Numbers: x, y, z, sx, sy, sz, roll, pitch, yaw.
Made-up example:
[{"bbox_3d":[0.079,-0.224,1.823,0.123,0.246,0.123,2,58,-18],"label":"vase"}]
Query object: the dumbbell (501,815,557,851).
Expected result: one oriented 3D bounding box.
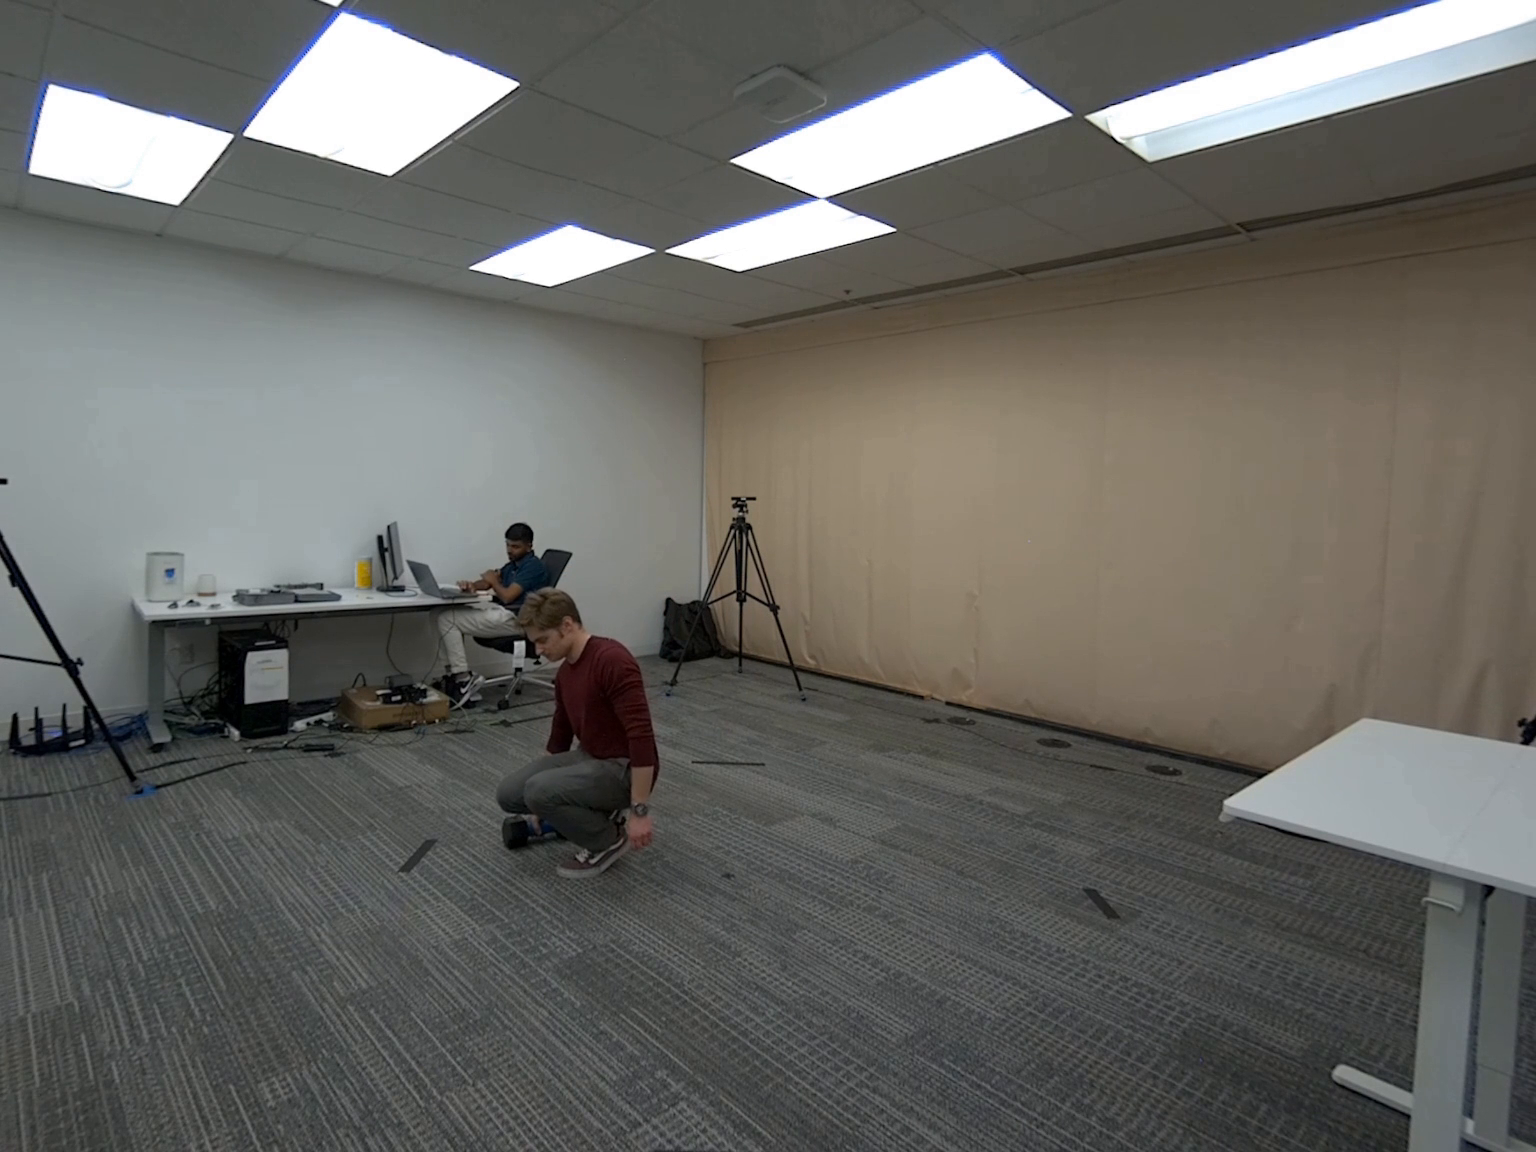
[{"bbox_3d":[-0.920,1.010,3.388,0.287,0.121,0.112,-1,34,-34],"label":"dumbbell"}]
